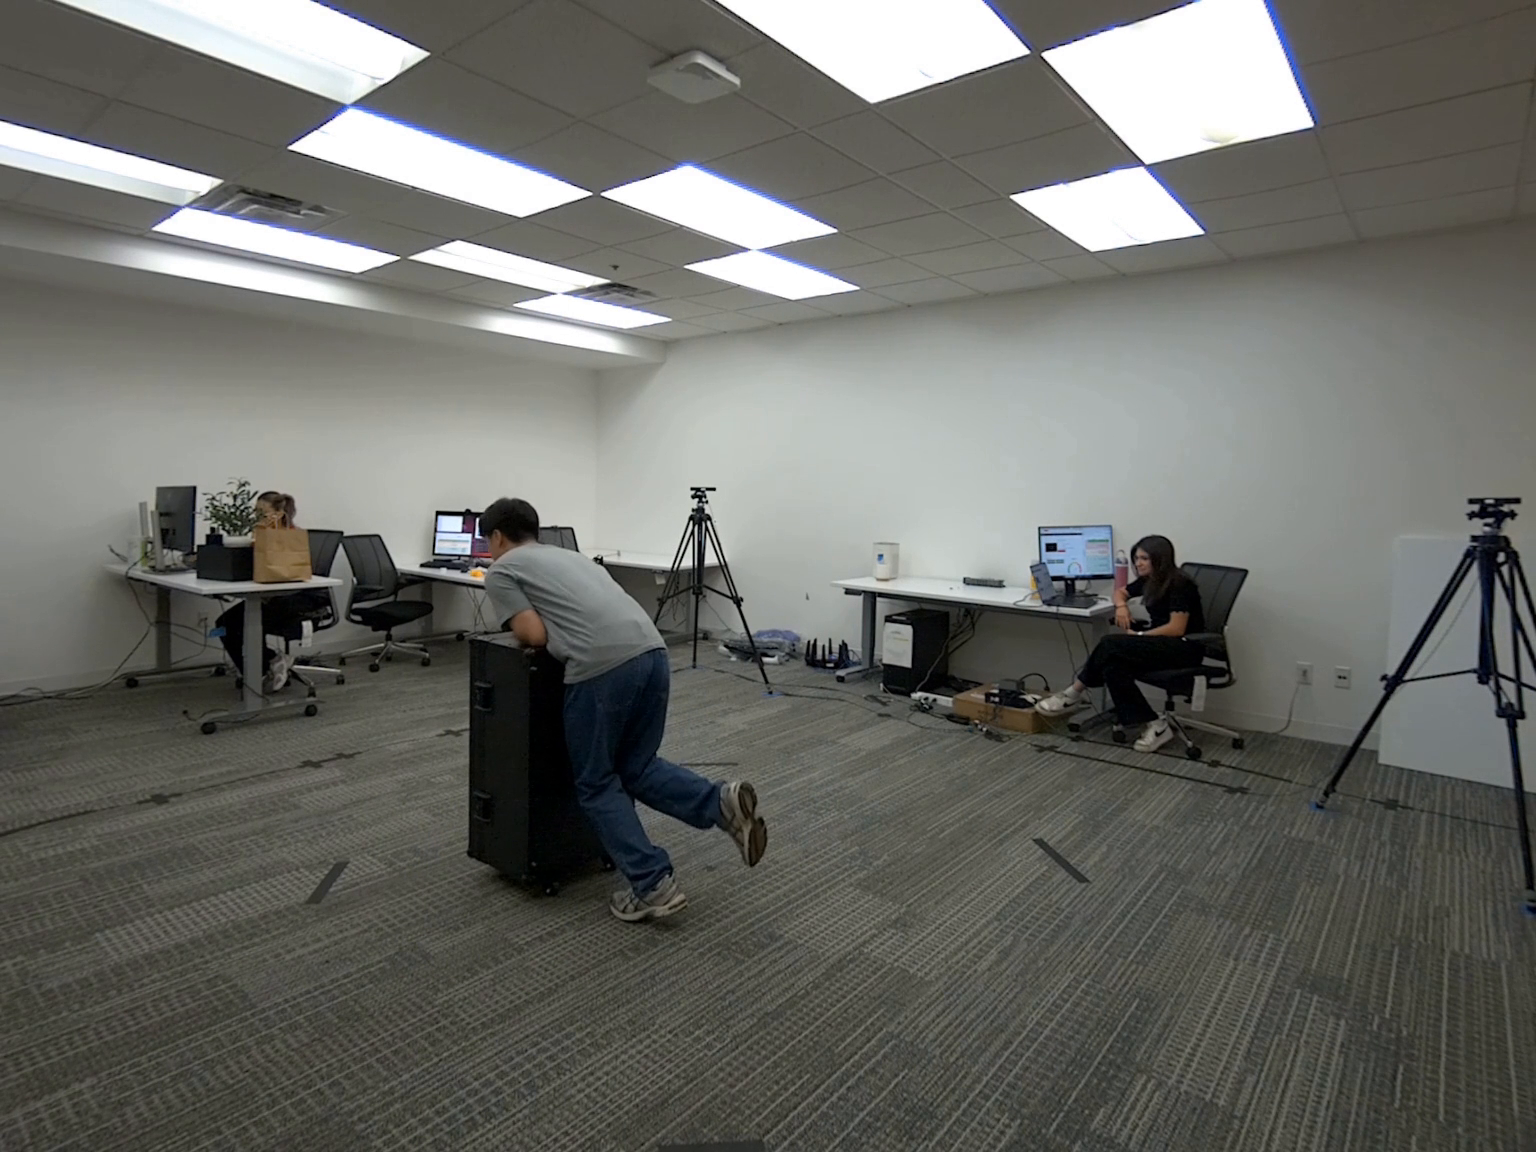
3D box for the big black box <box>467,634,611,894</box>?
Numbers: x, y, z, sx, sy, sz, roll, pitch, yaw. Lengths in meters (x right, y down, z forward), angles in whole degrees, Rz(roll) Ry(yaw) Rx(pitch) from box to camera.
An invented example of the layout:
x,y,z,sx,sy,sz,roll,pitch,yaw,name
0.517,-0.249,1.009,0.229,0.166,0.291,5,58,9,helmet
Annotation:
x,y,z,sx,sy,sz,roll,pitch,yaw,name
-0.773,0.635,3.059,0.409,0.859,0.505,4,4,39,big black box
